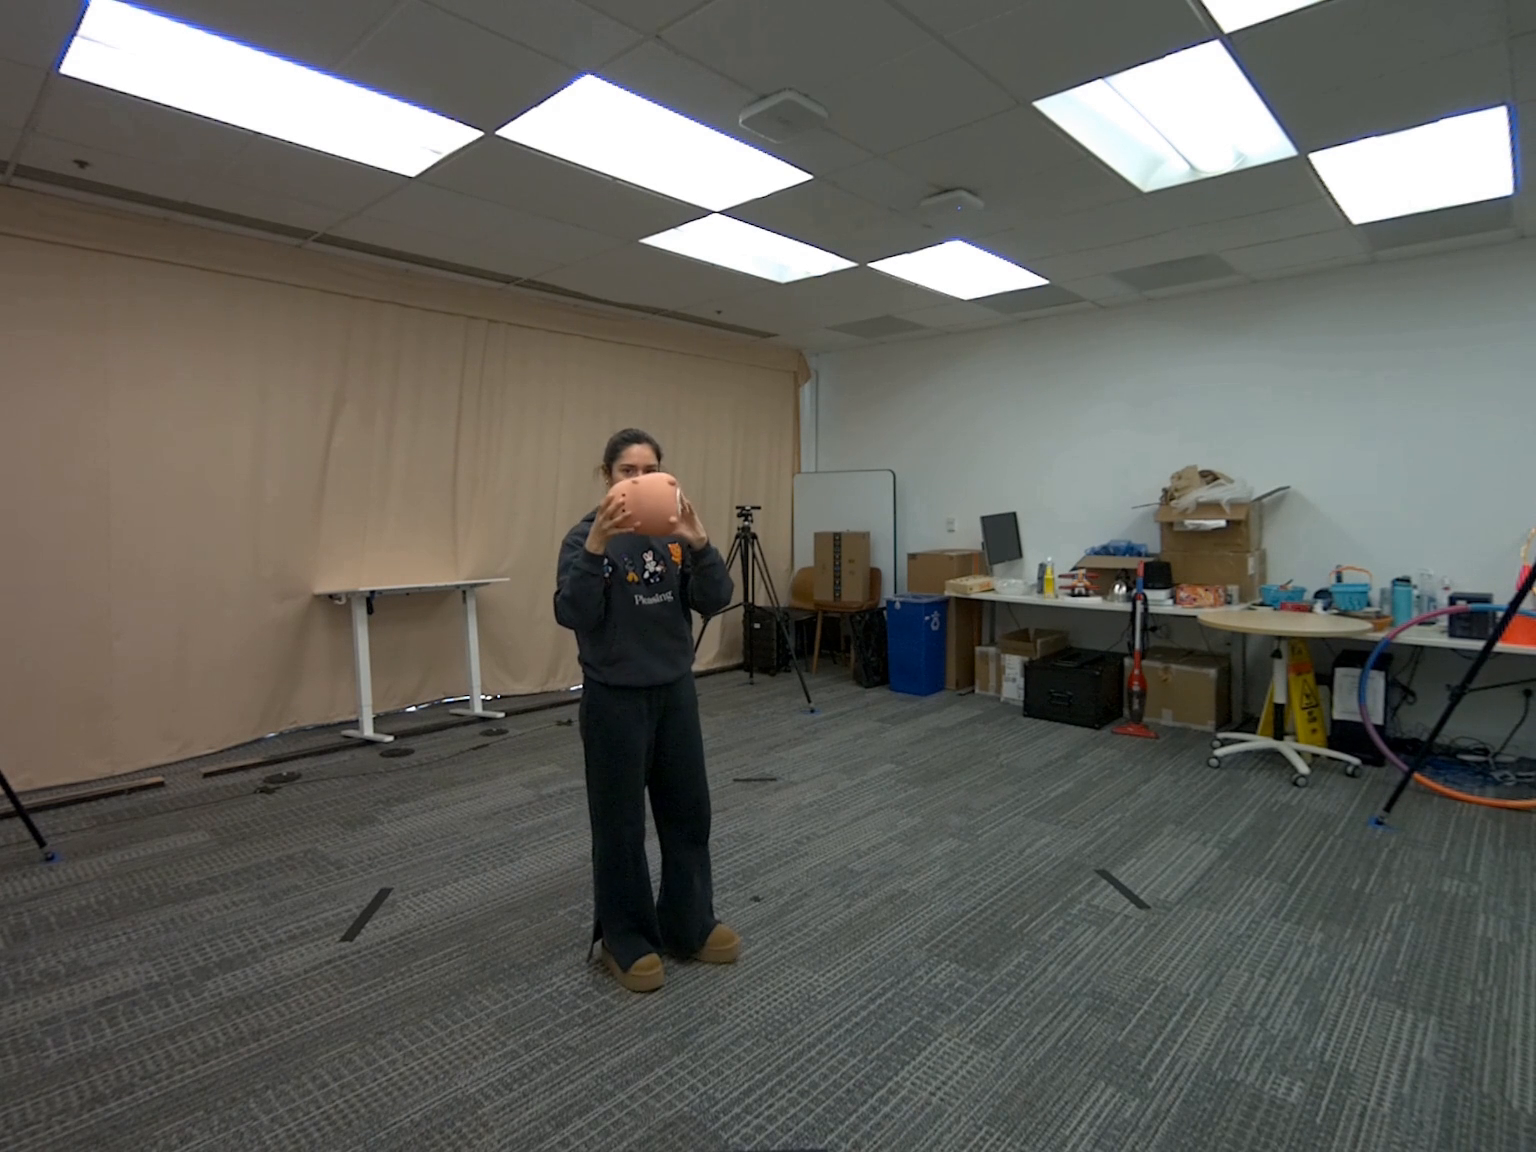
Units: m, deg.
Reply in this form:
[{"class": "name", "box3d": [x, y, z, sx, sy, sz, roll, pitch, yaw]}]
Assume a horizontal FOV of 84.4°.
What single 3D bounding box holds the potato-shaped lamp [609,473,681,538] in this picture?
[{"class": "potato-shaped lamp", "box3d": [-0.320, -0.184, 2.206, 0.197, 0.164, 0.172, -3, 2, -6]}]
